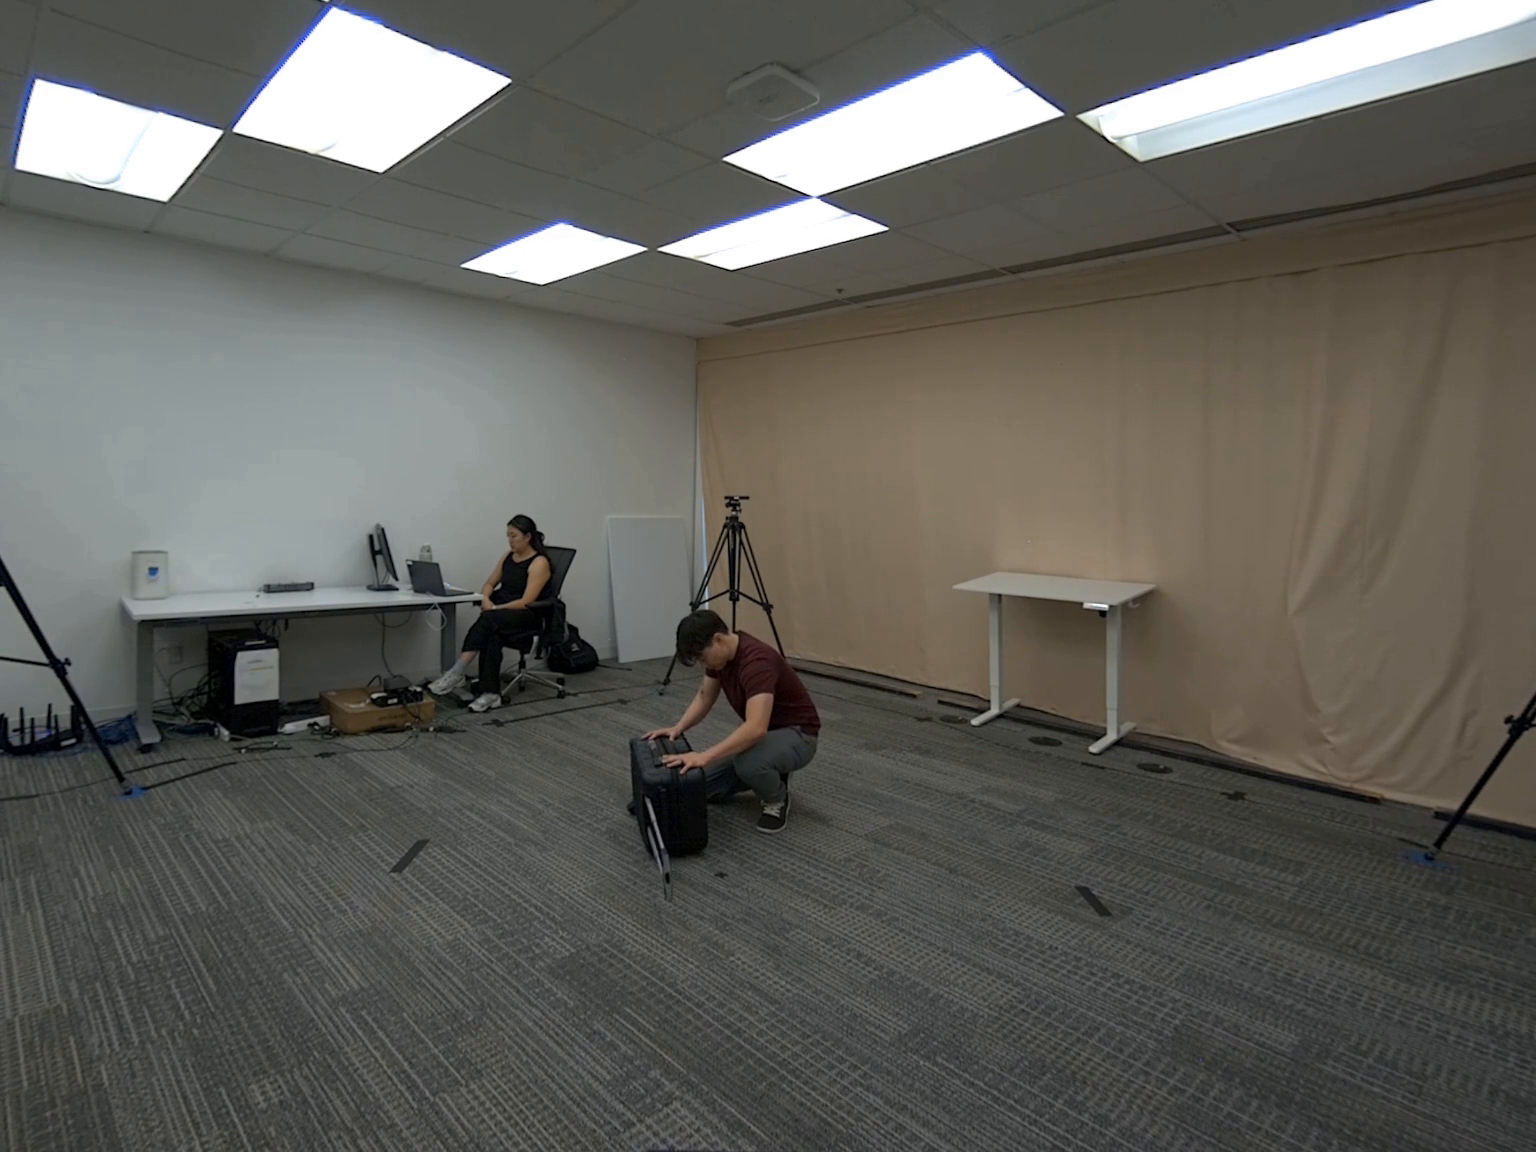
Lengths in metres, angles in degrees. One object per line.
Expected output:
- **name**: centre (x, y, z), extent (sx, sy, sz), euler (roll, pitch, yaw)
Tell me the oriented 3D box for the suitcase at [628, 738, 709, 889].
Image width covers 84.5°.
- **suitcase**: centre (-0.357, 0.901, 3.230), extent (0.254, 0.382, 0.994), euler (-2, 7, -17)
